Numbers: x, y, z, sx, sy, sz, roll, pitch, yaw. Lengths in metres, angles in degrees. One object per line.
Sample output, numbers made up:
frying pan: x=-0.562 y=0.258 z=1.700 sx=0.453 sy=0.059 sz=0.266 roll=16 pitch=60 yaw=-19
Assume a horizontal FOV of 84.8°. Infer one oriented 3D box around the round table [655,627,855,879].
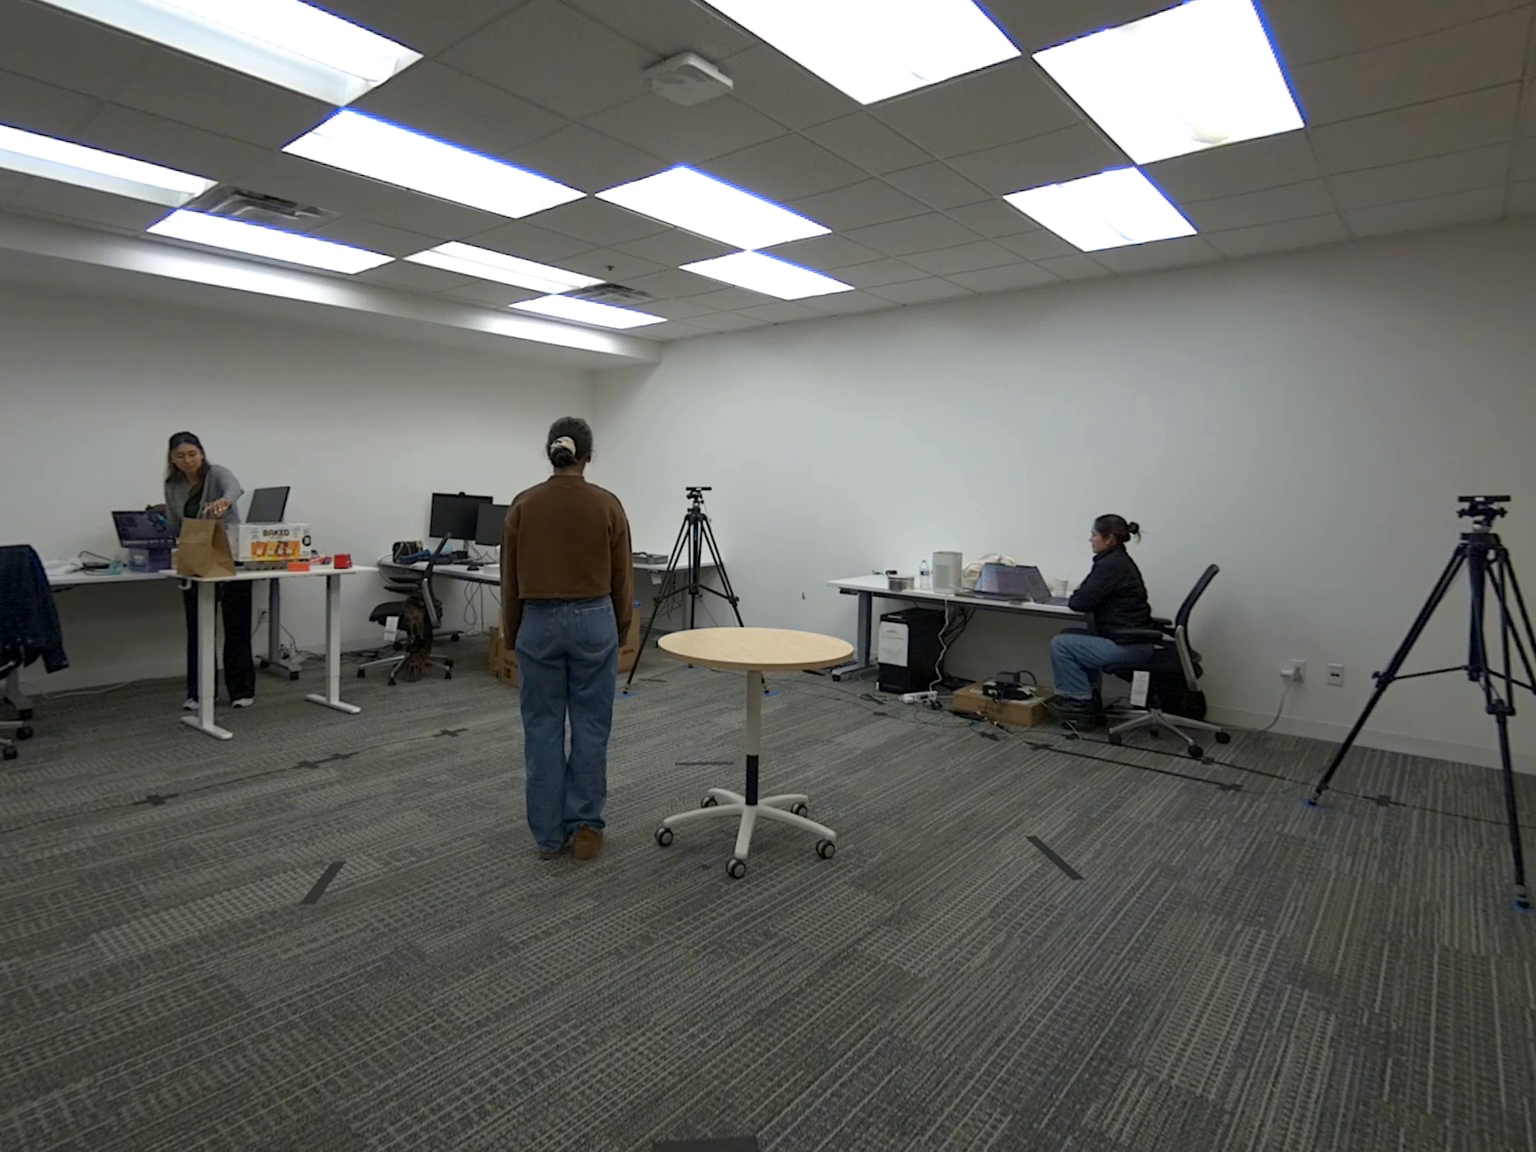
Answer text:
round table: x=-0.071 y=0.655 z=3.368 sx=0.763 sy=0.791 sz=0.768 roll=1 pitch=4 yaw=-2
